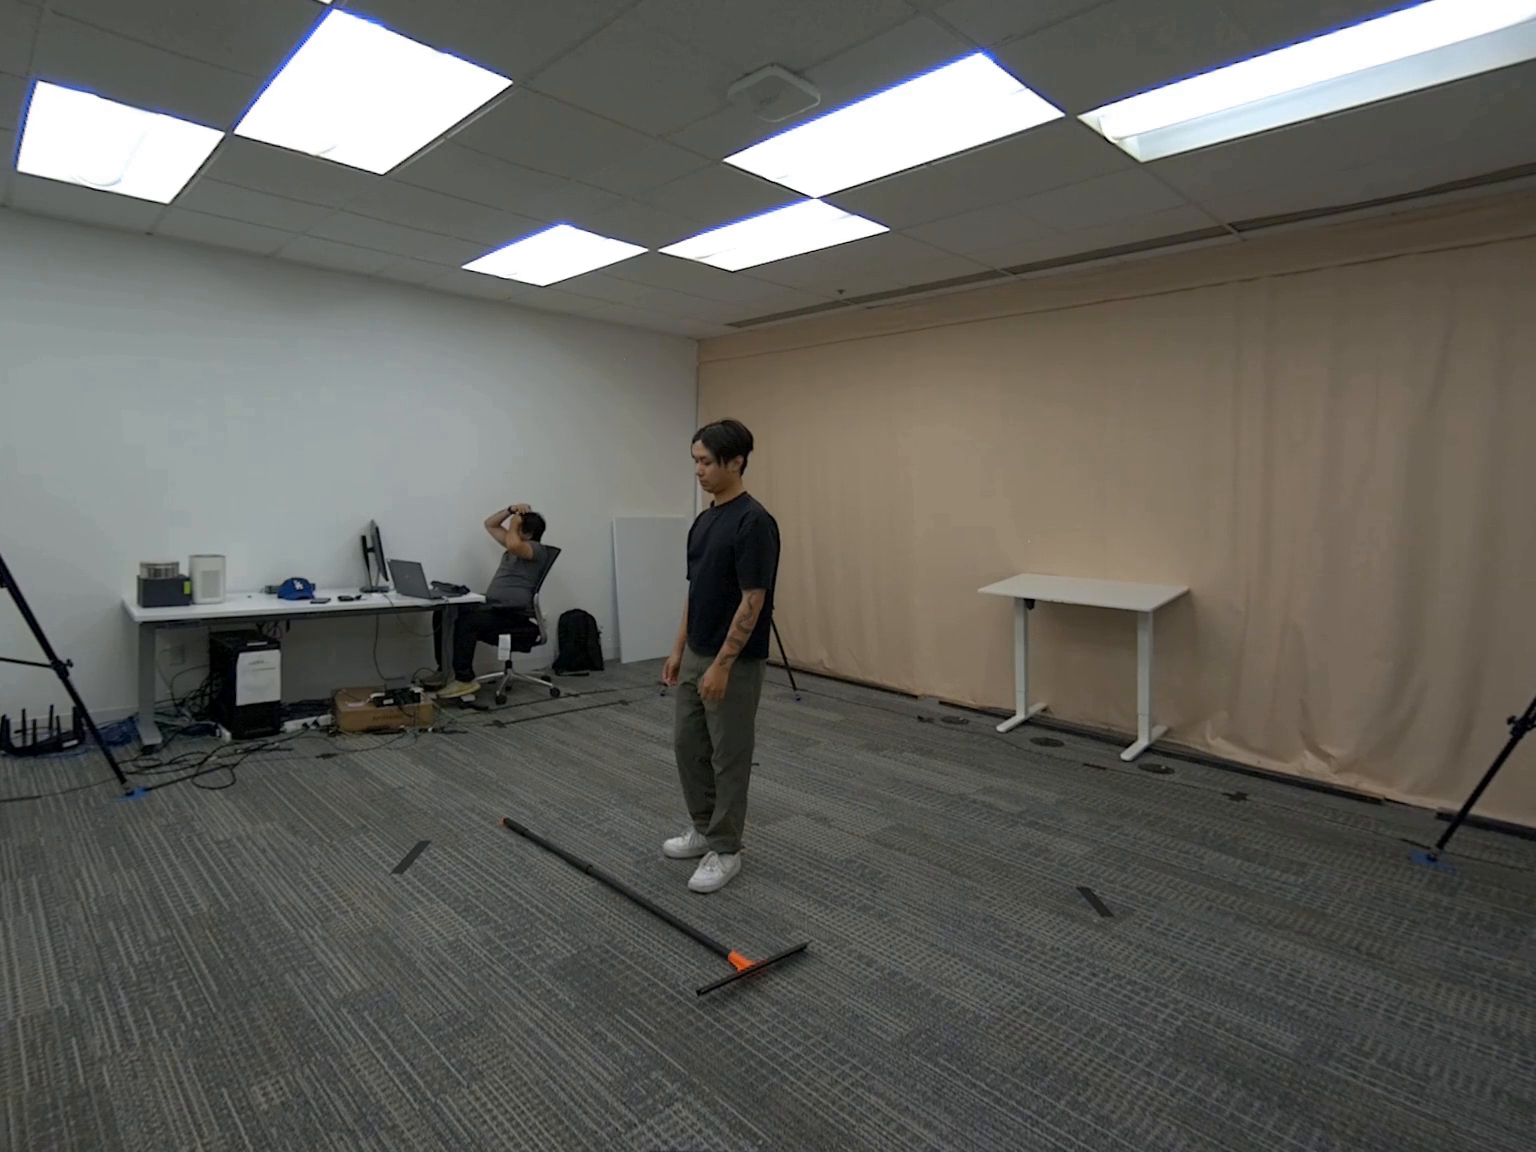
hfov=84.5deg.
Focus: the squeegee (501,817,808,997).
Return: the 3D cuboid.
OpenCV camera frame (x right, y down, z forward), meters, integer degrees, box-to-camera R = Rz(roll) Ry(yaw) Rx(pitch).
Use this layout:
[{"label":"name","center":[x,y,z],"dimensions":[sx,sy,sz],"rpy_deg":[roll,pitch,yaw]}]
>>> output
[{"label":"squeegee","center":[-0.565,1.069,2.993],"dimensions":[0.427,0.053,1.577],"rpy_deg":[-1,5,-44]}]
